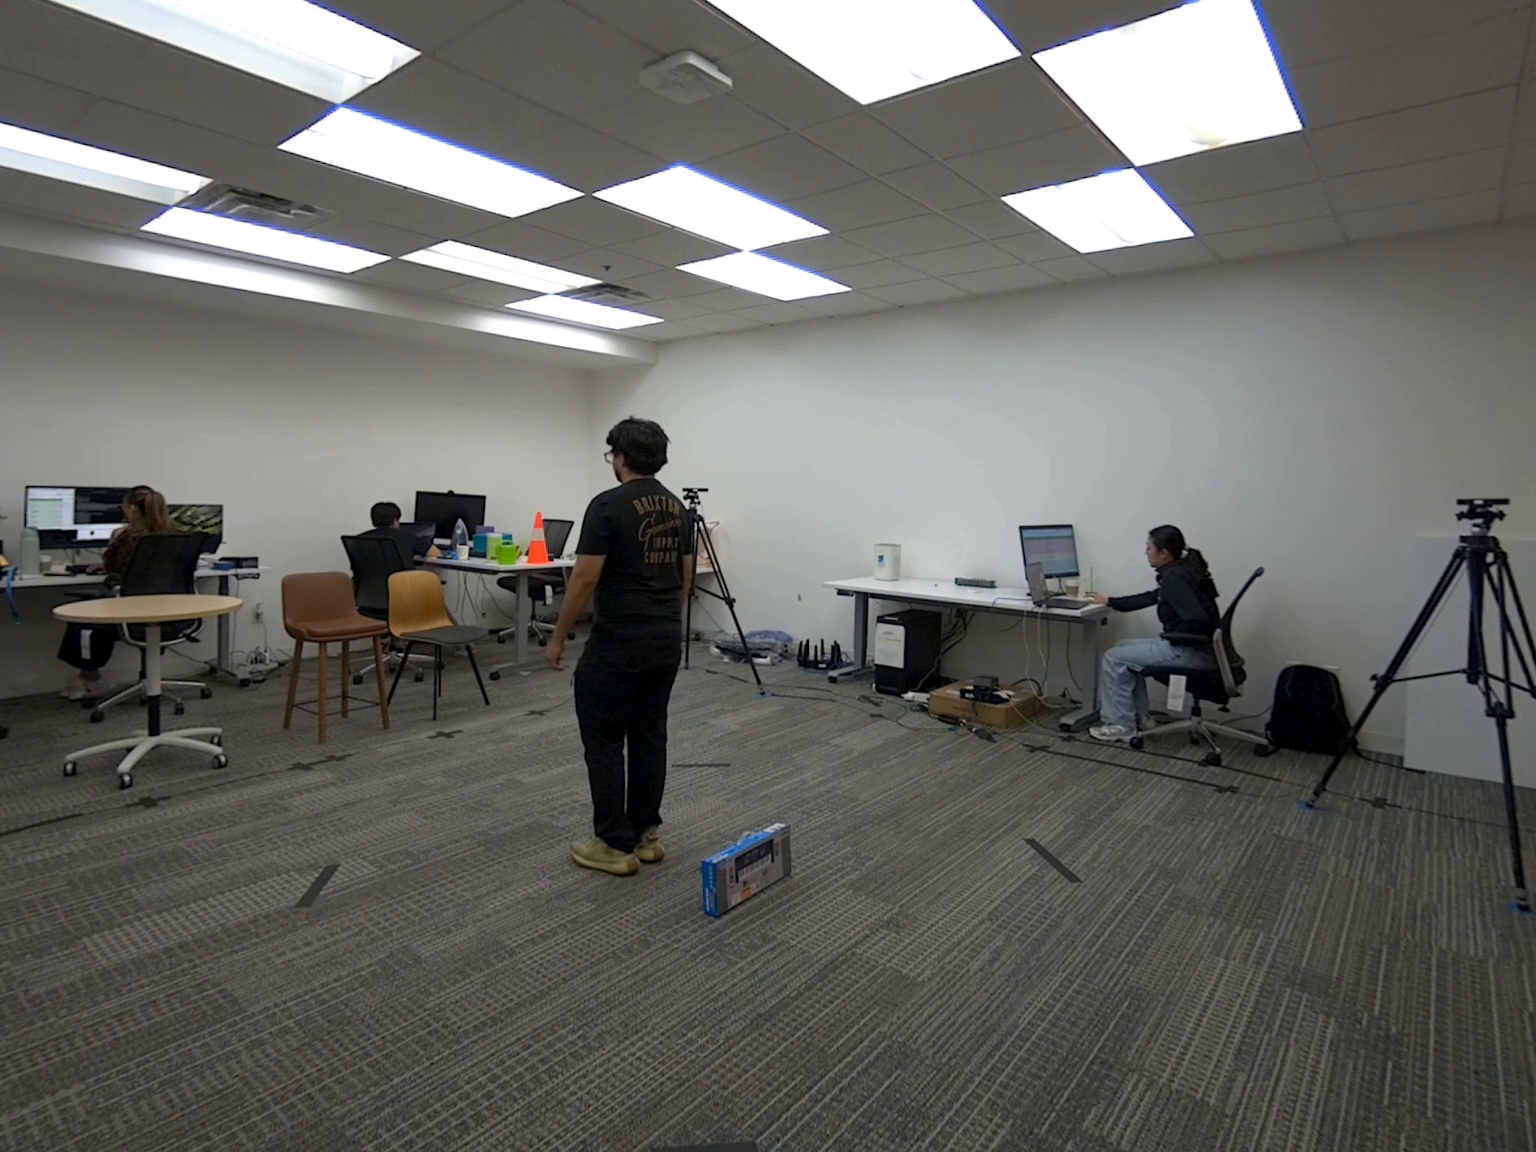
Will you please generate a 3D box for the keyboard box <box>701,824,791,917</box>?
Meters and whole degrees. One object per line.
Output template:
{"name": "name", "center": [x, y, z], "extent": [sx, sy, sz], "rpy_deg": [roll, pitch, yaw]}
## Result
{"name": "keyboard box", "center": [-0.072, 1.002, 2.936], "extent": [0.061, 0.176, 0.424], "rpy_deg": [-3, 2, 36]}
